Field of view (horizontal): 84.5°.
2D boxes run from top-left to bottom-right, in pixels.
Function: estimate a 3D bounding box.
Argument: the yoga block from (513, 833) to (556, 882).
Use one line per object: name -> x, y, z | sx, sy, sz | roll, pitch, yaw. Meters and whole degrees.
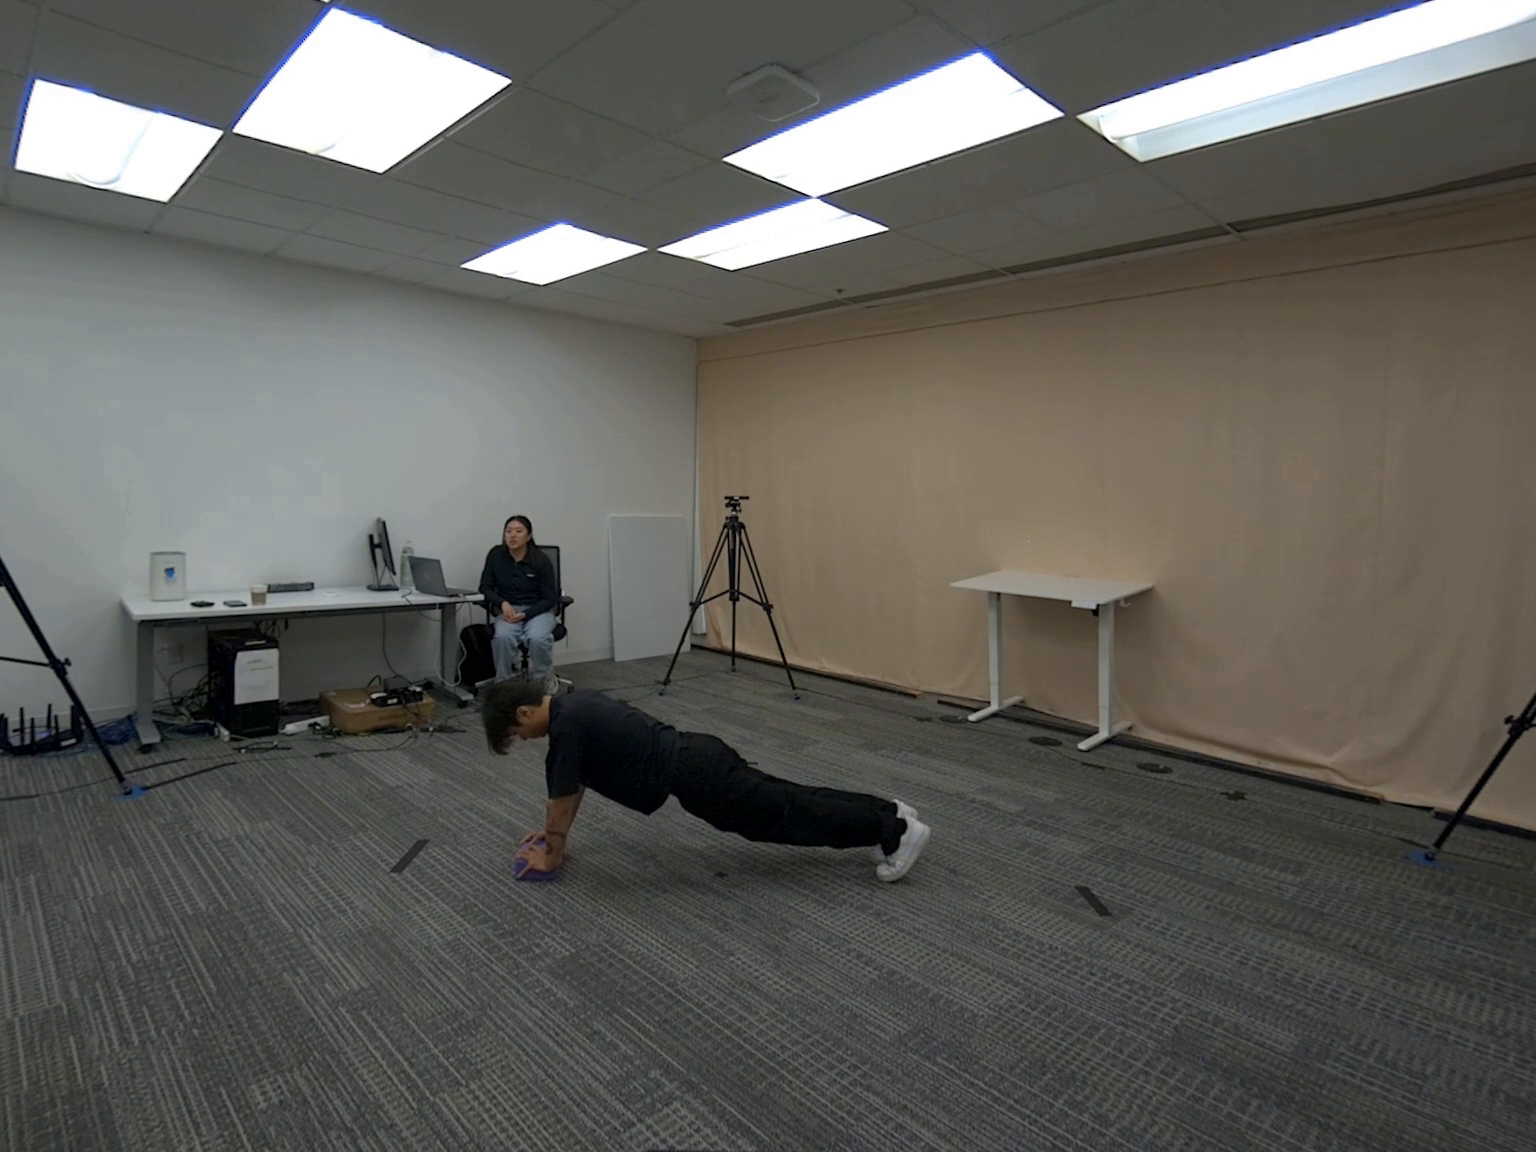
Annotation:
yoga block -> -0.852, 1.049, 3.139 | 0.148, 0.076, 0.231 | 0, 3, -7
